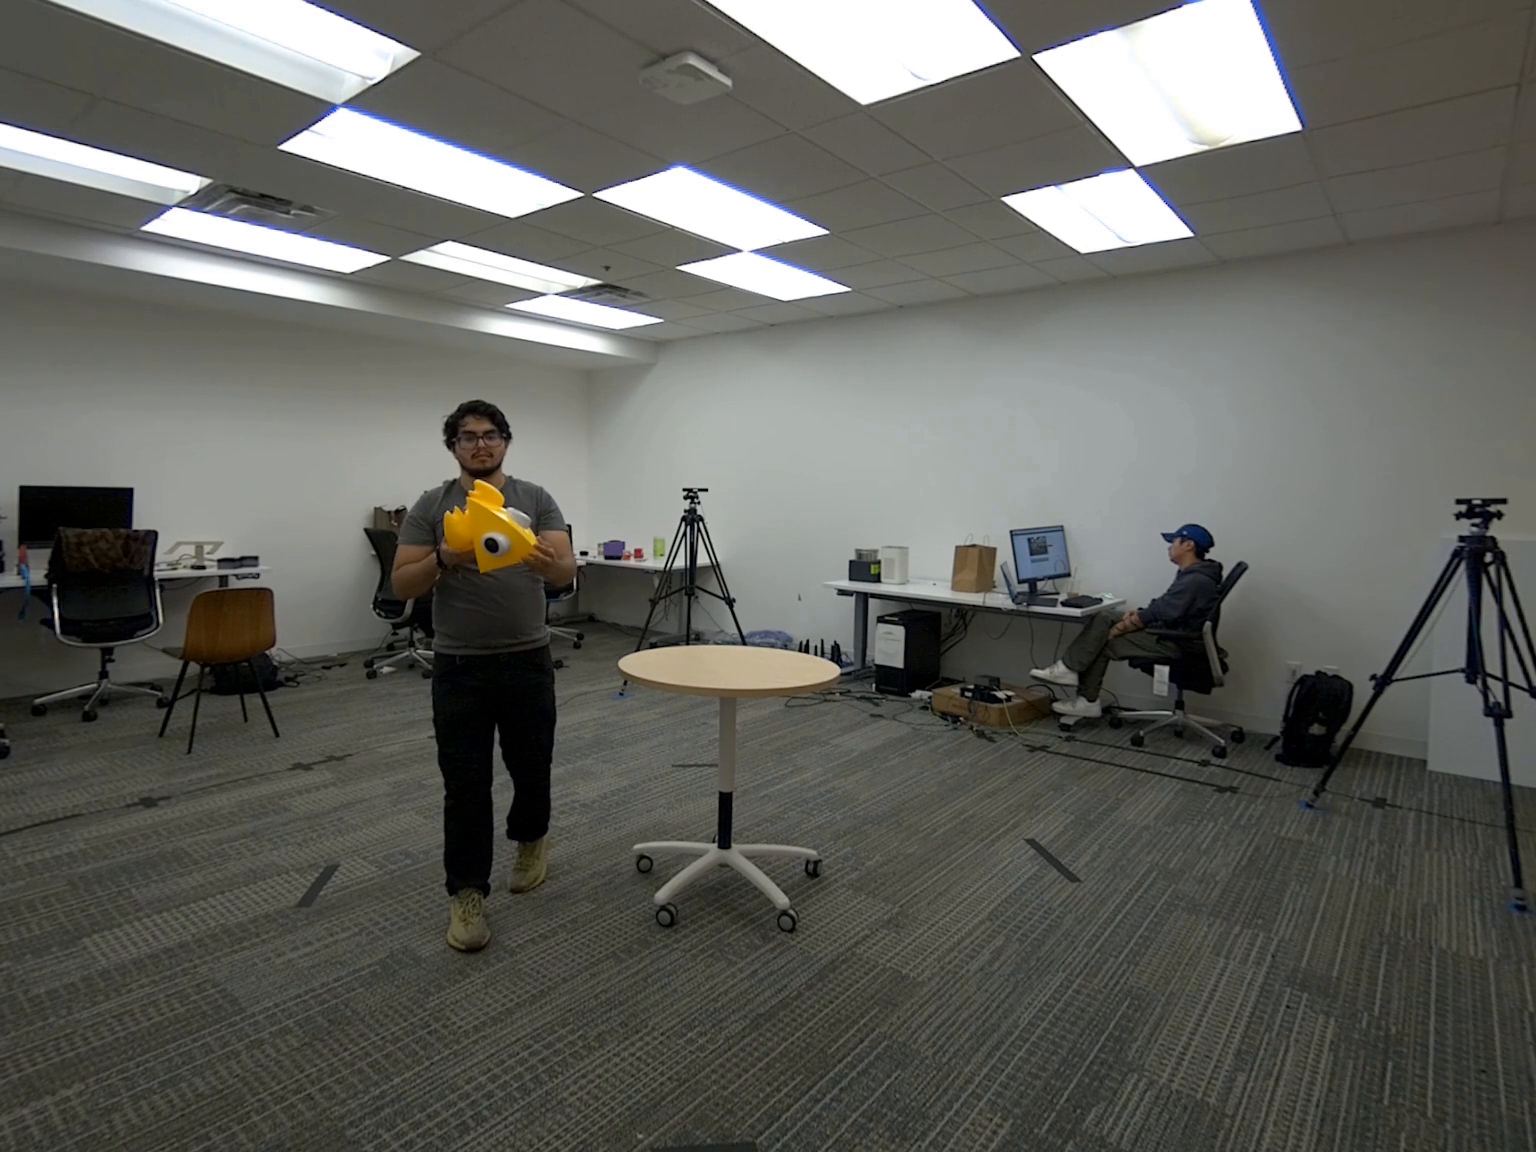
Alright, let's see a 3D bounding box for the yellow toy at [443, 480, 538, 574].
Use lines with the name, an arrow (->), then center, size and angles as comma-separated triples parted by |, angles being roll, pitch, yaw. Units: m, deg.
yellow toy -> -0.751, -0.133, 2.362 | 0.237, 0.206, 0.186 | 18, -35, 22
